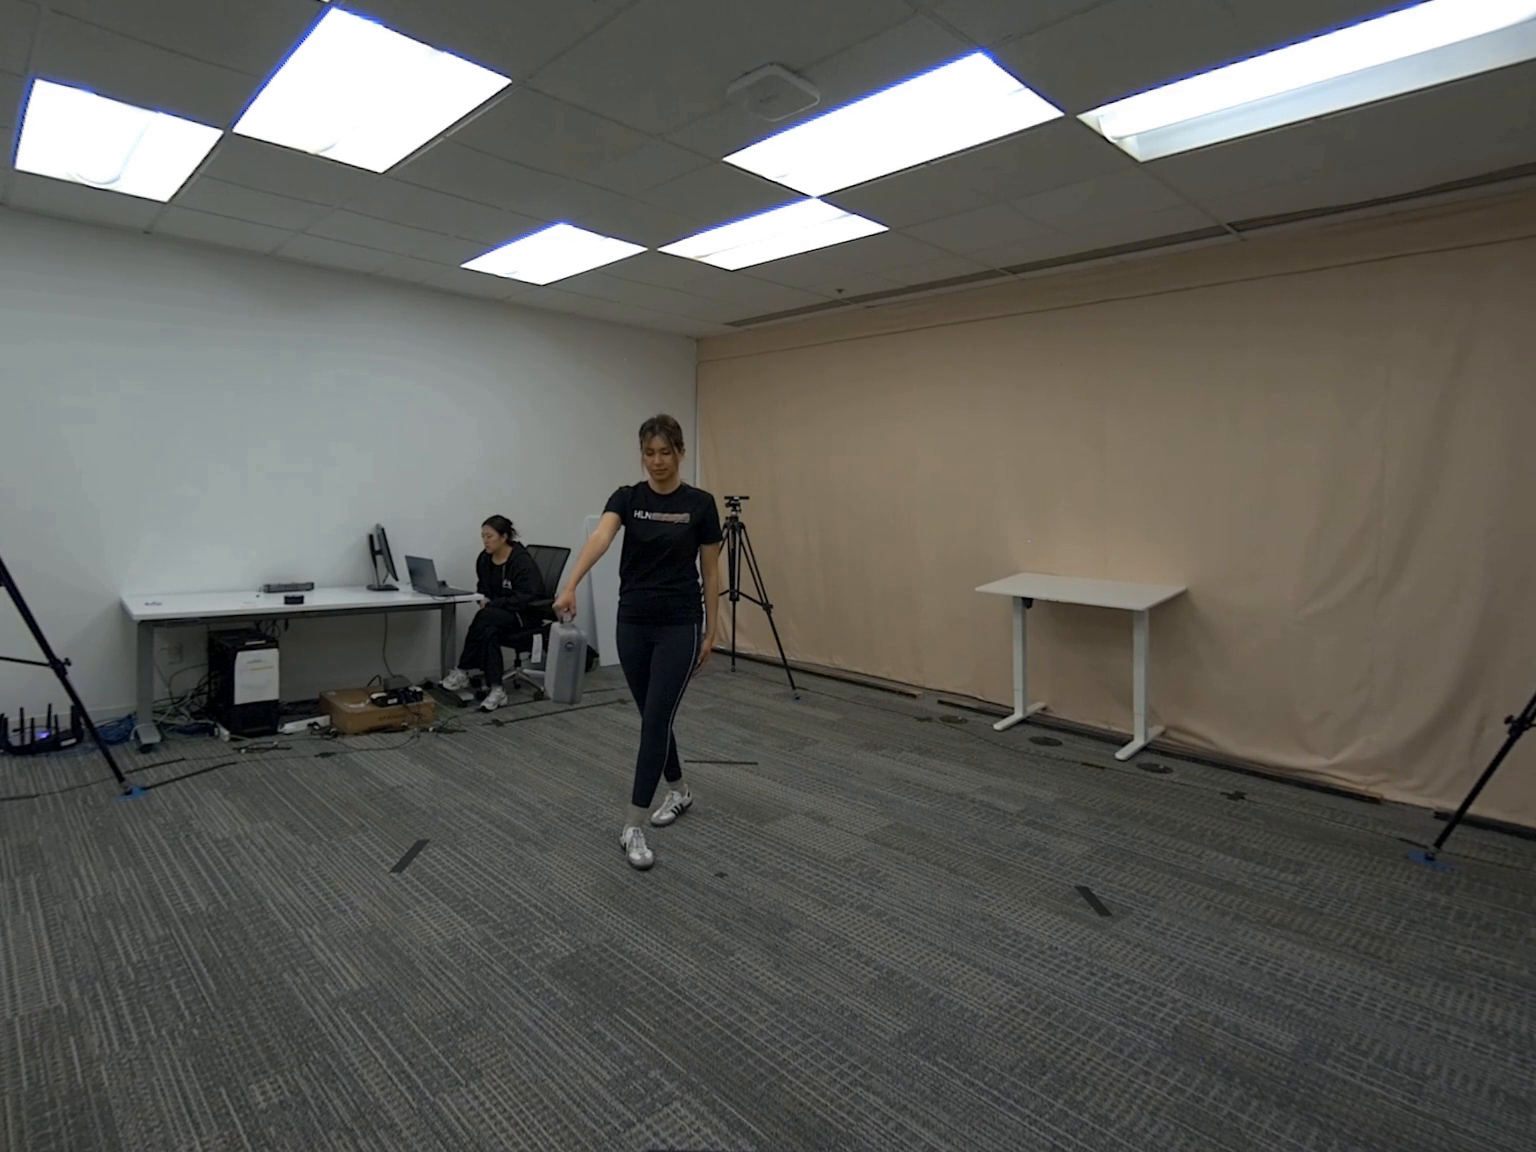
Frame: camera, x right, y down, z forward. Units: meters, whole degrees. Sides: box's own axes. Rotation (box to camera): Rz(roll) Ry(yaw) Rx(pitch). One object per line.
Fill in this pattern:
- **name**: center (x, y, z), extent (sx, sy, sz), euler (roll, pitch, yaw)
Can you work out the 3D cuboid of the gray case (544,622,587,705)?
- **gray case**: center (-0.717, 0.296, 2.943), extent (0.103, 0.260, 0.261), euler (6, 2, -18)
